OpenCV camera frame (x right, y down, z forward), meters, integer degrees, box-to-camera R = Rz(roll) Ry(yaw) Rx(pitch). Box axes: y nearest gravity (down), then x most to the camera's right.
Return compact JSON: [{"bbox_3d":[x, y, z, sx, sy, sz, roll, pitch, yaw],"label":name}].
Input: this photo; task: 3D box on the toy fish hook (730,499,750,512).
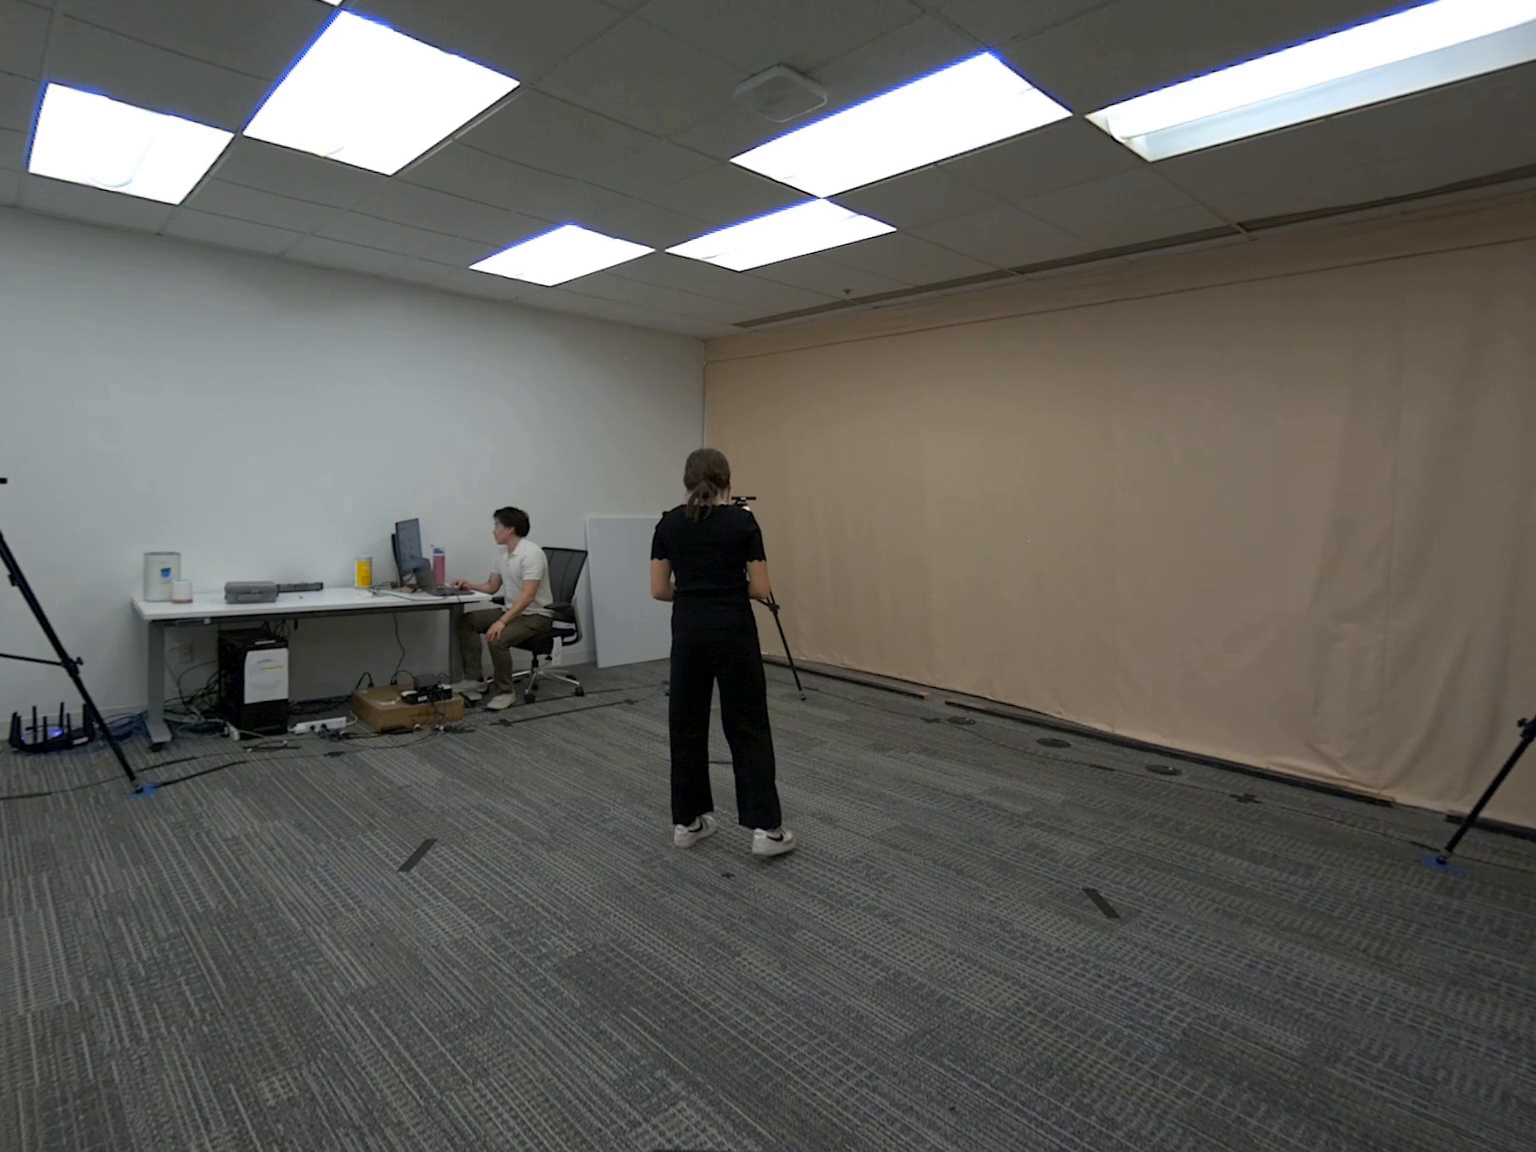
[{"bbox_3d":[-0.192,-0.072,3.648,0.047,0.511,0.225,25,-24,-14],"label":"toy fish hook"}]
